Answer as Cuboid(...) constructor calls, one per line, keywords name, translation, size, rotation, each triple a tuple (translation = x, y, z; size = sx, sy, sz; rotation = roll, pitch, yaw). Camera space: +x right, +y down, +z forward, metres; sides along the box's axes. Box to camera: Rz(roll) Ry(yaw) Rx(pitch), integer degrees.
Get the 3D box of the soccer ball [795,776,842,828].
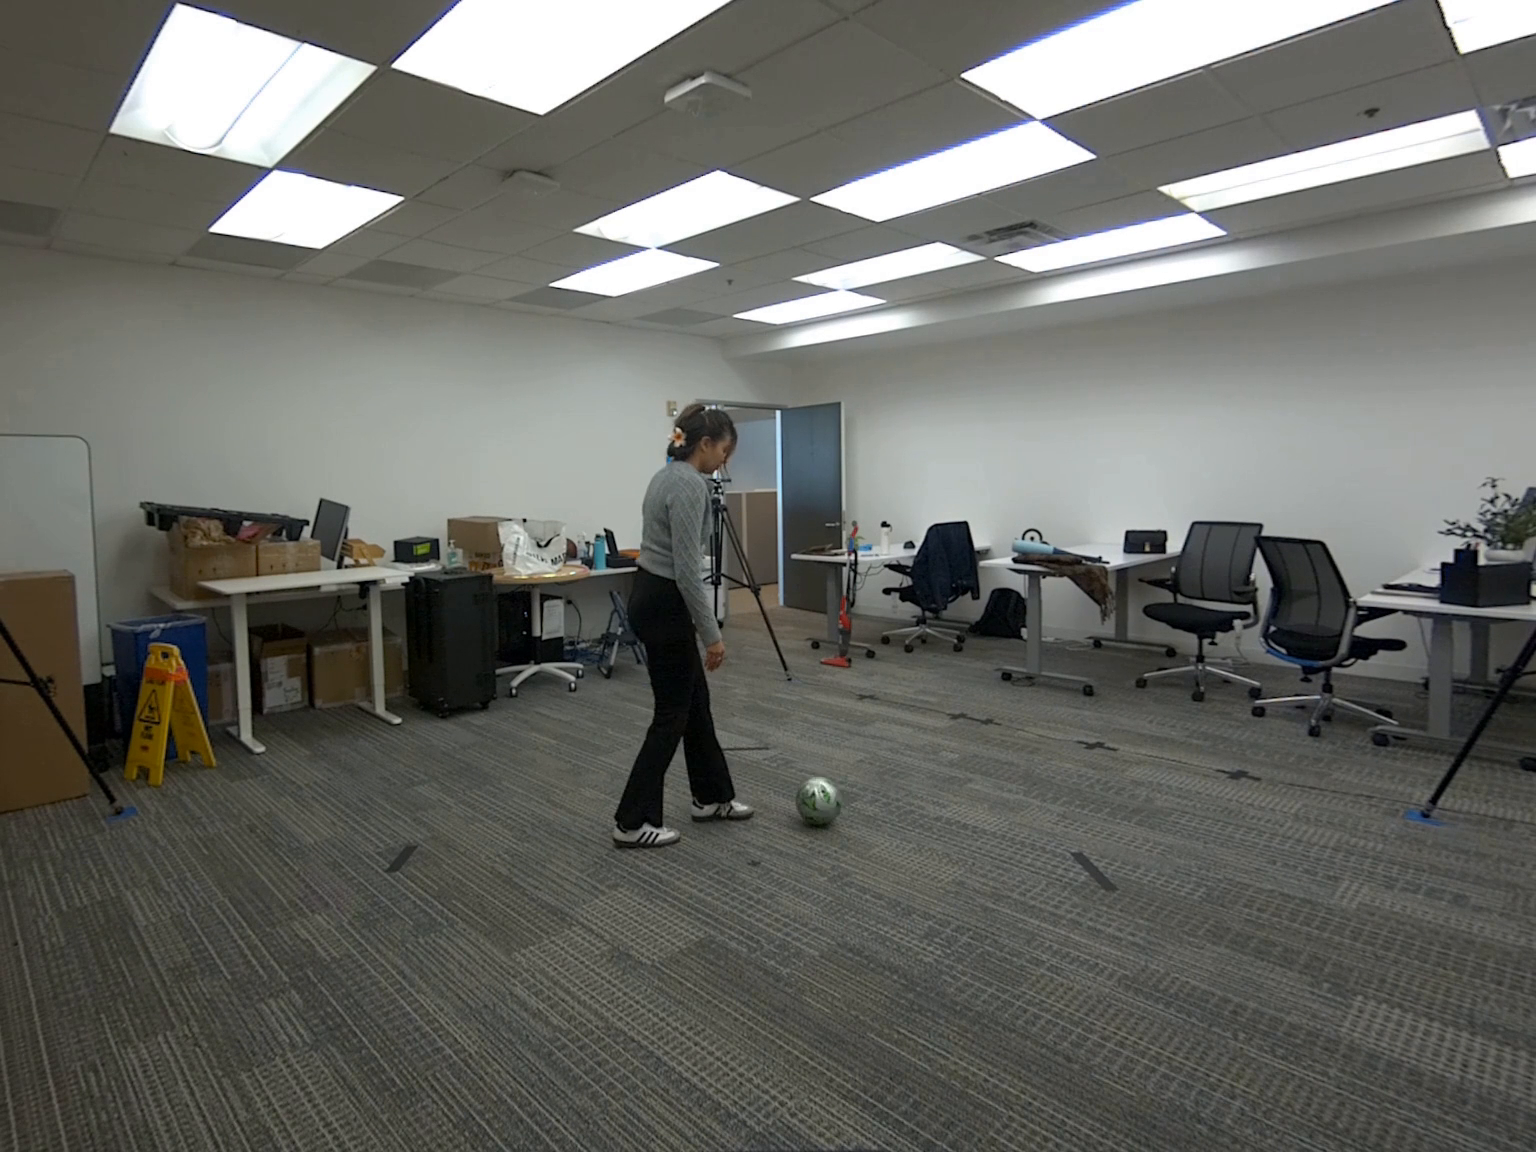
Cuboid(name="soccer ball", translation=(0.203, 0.901, 3.440), size=(0.187, 0.187, 0.188), rotation=(-1, 5, -2))
